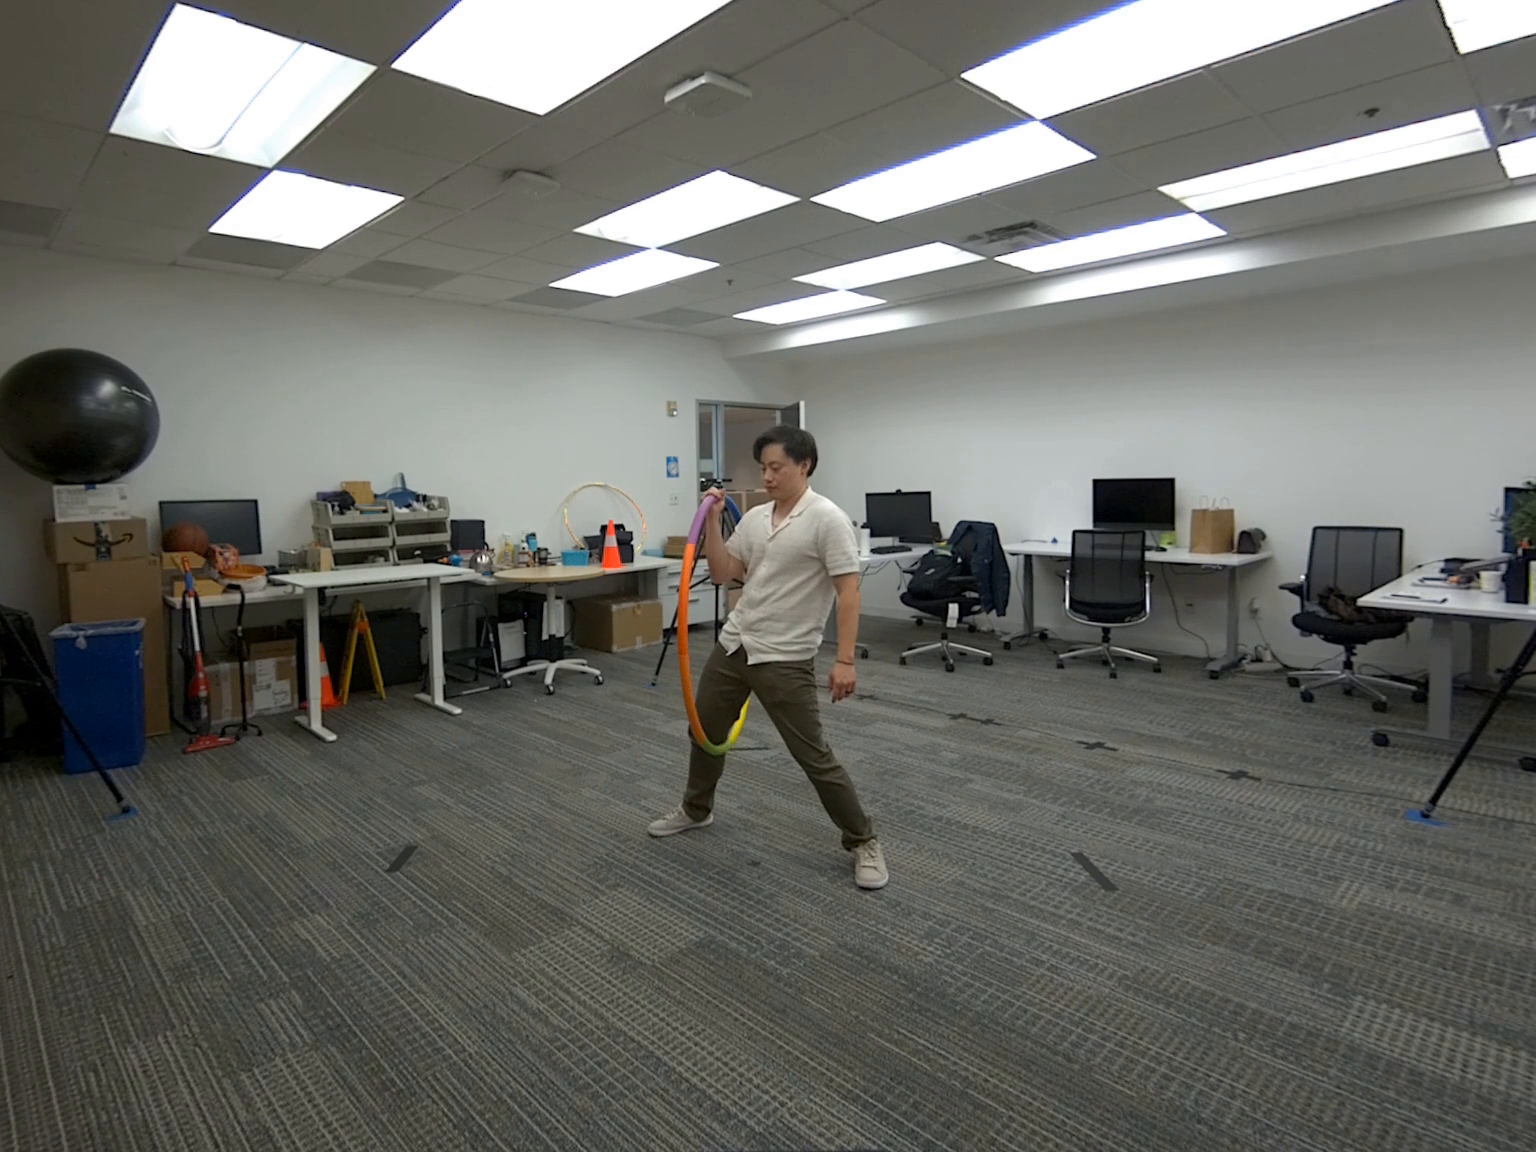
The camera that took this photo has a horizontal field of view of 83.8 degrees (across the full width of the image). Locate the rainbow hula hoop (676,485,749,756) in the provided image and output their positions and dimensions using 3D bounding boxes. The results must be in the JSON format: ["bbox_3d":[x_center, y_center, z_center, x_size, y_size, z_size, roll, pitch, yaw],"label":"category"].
[{"bbox_3d":[-0.170,0.171,3.258,0.036,0.975,0.969,-2,4,13],"label":"rainbow hula hoop"}]
